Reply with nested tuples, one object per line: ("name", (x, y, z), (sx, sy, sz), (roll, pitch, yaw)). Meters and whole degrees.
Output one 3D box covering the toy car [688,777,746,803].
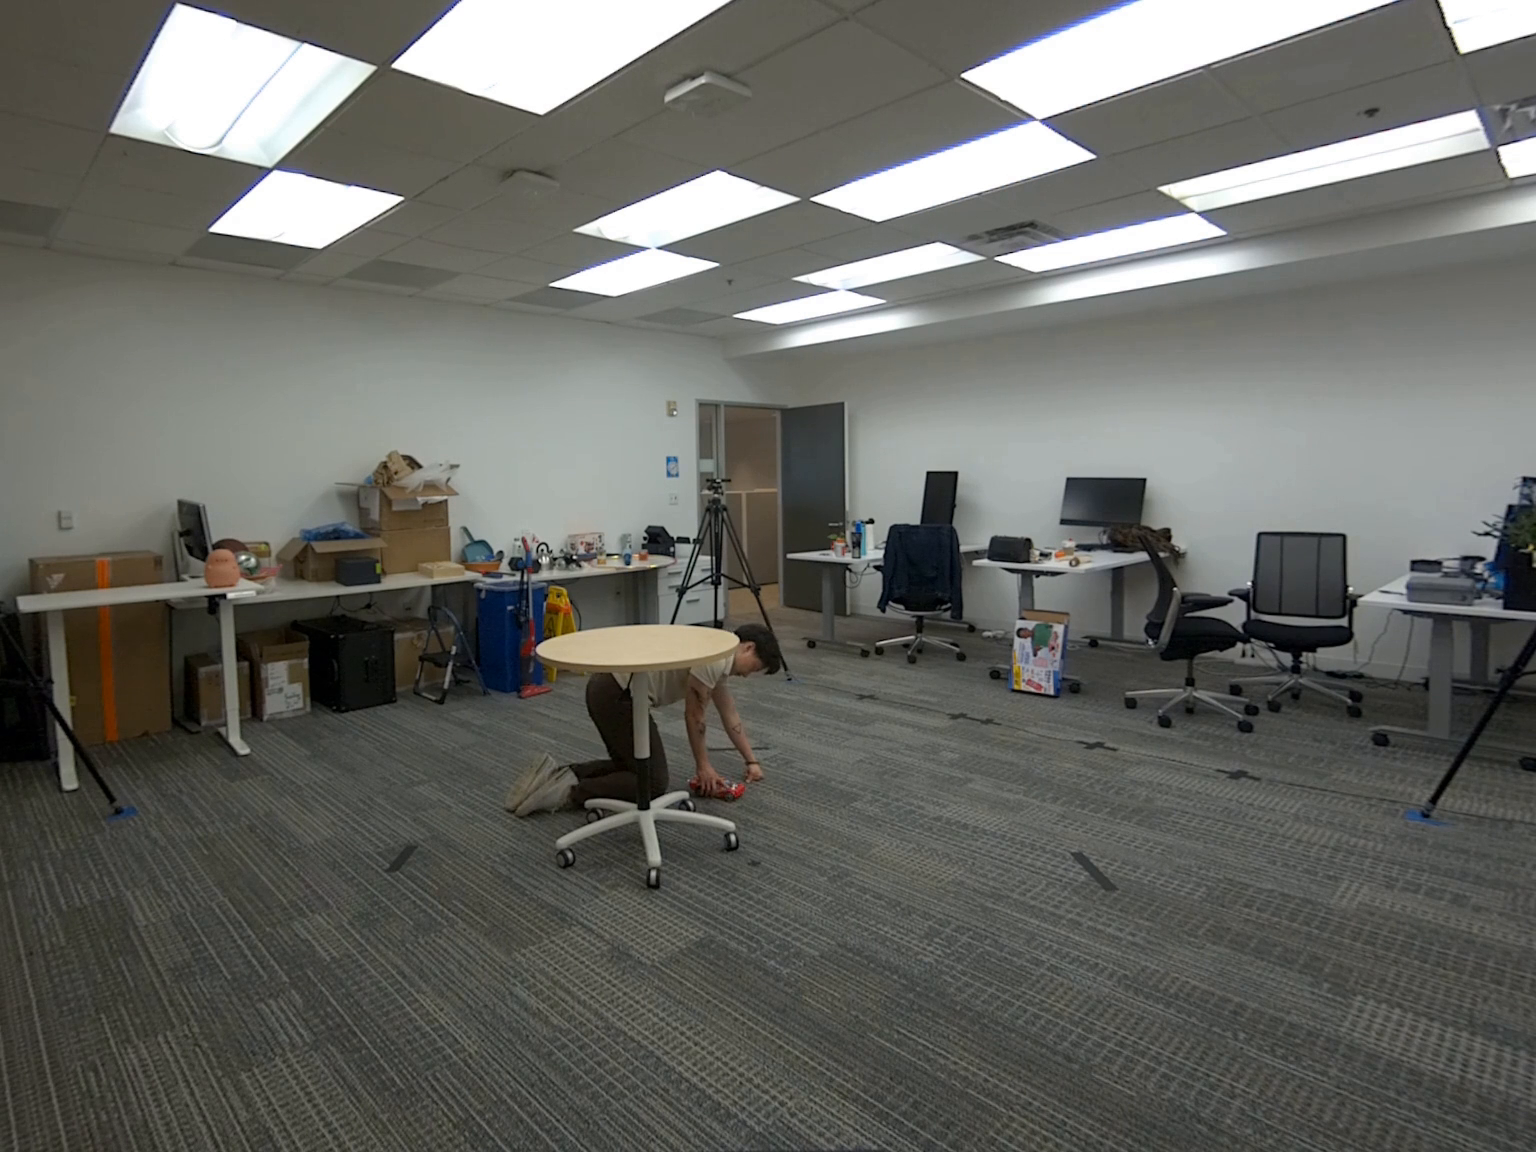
("toy car", (-0.237, 0.942, 3.794), (0.262, 0.082, 0.127), (15, 12, 27))
